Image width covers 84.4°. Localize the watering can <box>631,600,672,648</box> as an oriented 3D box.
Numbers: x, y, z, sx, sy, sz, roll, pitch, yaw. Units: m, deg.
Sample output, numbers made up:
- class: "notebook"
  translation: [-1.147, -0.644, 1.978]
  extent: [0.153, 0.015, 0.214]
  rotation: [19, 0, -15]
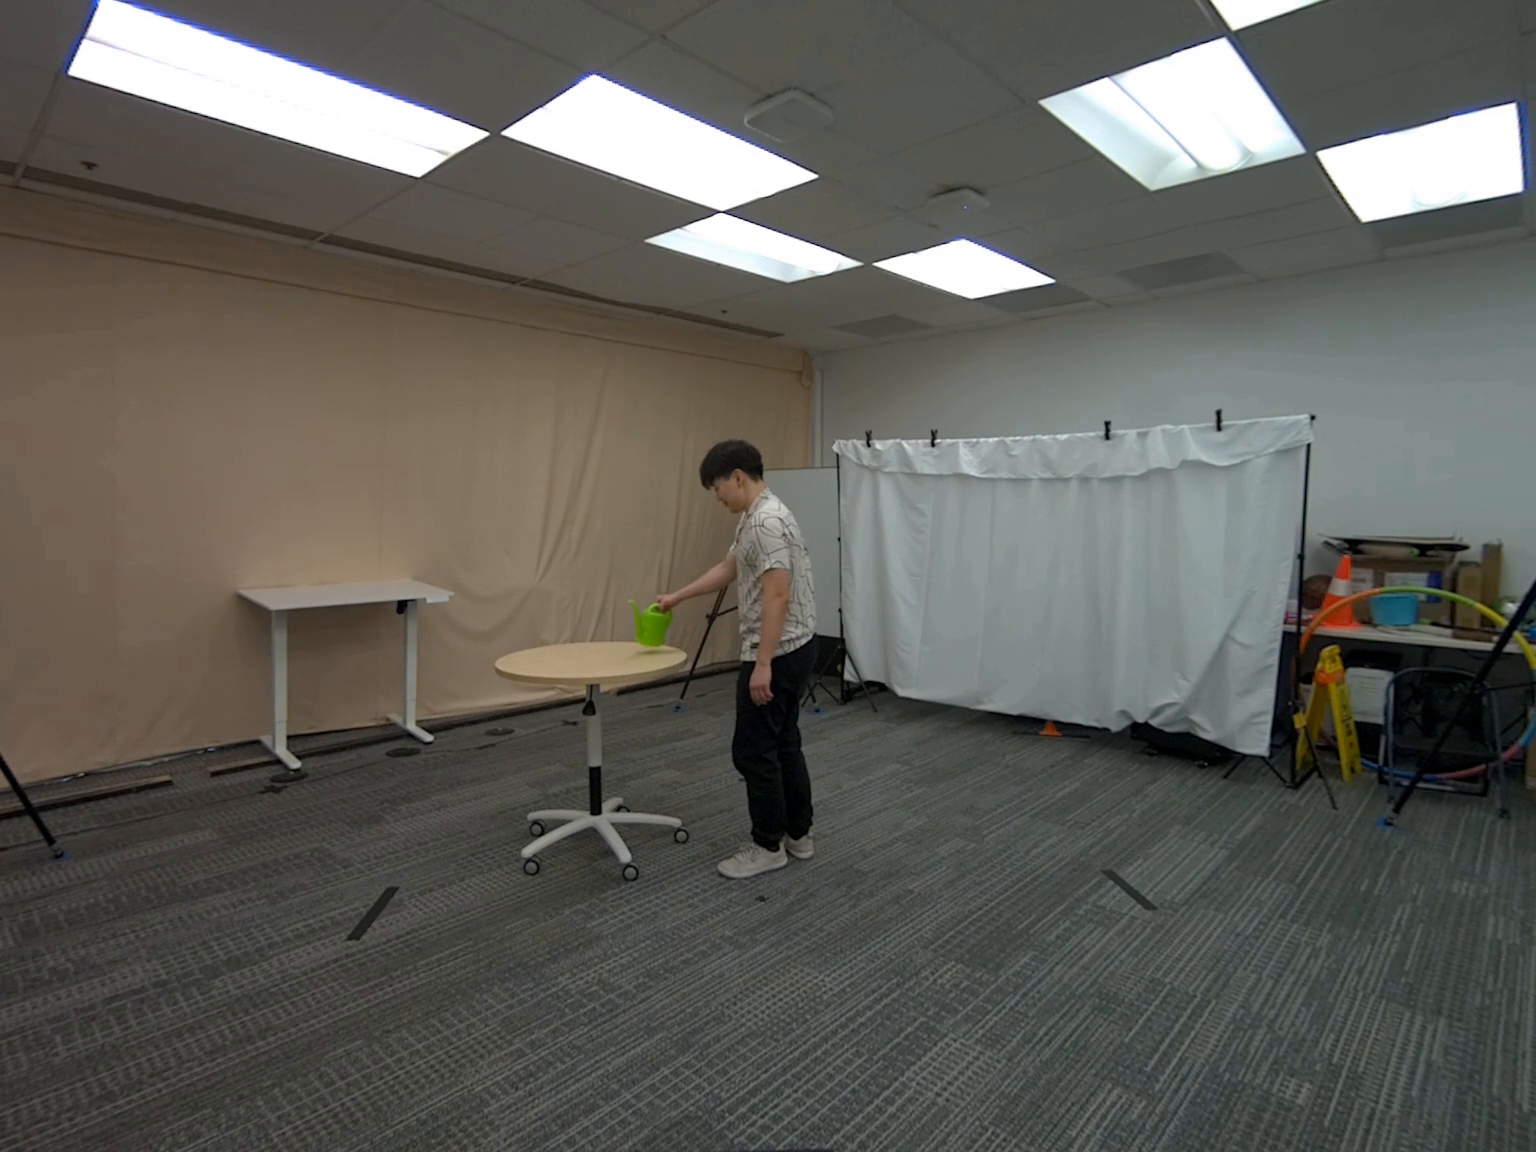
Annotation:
- class: "watering can"
  translation: [-0.488, 0.196, 3.468]
  extent: [0.269, 0.176, 0.101]
  rotation: [13, 4, -34]
